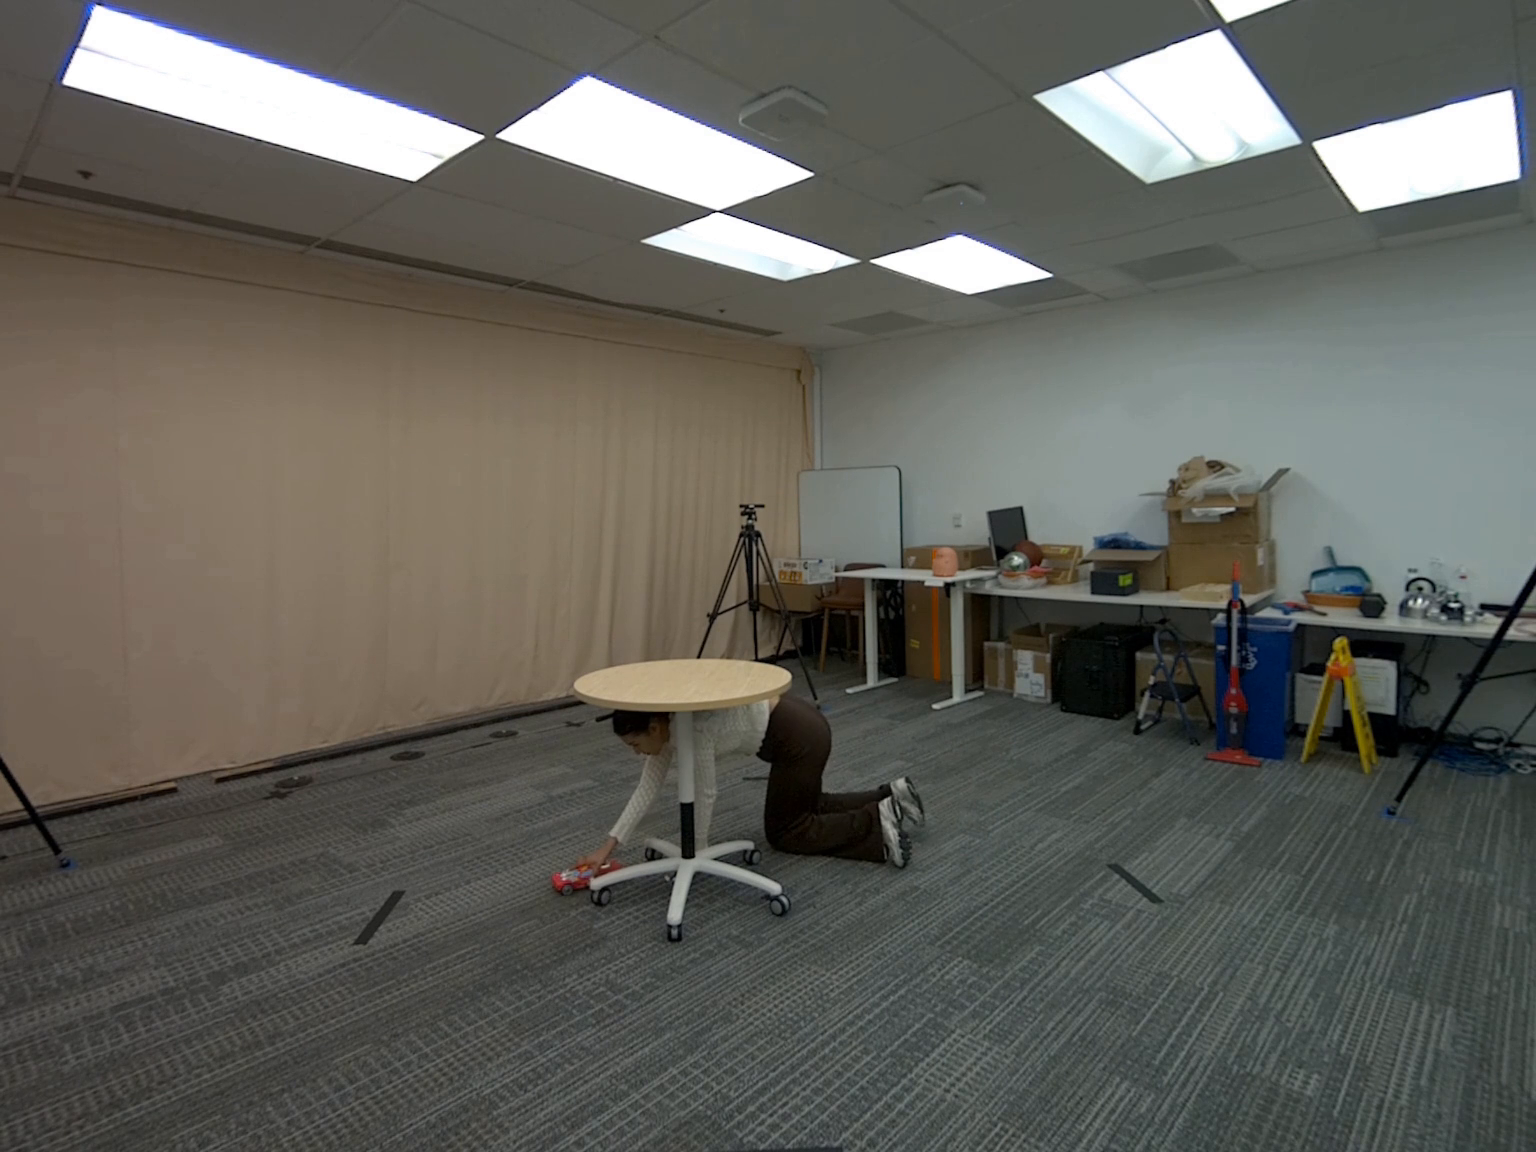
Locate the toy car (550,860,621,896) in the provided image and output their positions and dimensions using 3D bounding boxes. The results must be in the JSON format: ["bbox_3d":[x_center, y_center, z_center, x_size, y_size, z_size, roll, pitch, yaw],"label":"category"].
[{"bbox_3d":[-0.668,1.116,3.128,0.249,0.083,0.134,-16,9,-27],"label":"toy car"}]
